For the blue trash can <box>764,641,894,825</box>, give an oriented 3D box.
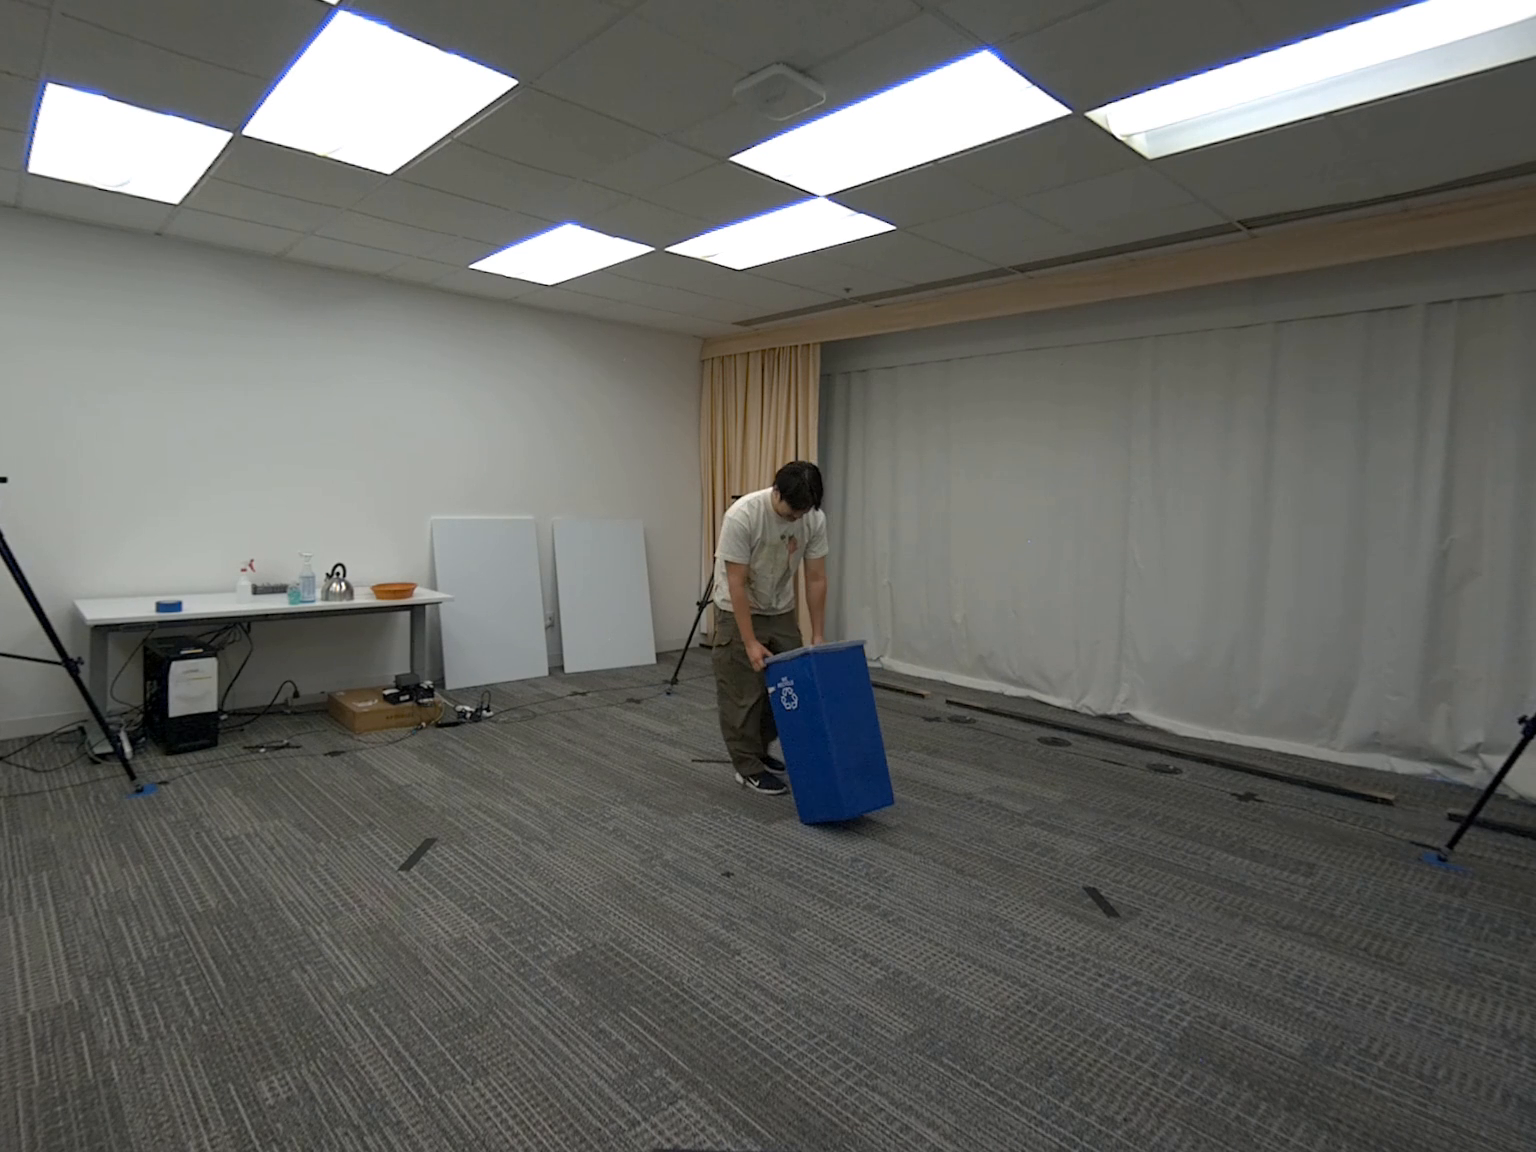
[{"bbox_3d":[0.265,0.673,3.676,0.369,0.721,0.378,-3,-16,-40],"label":"blue trash can"}]
